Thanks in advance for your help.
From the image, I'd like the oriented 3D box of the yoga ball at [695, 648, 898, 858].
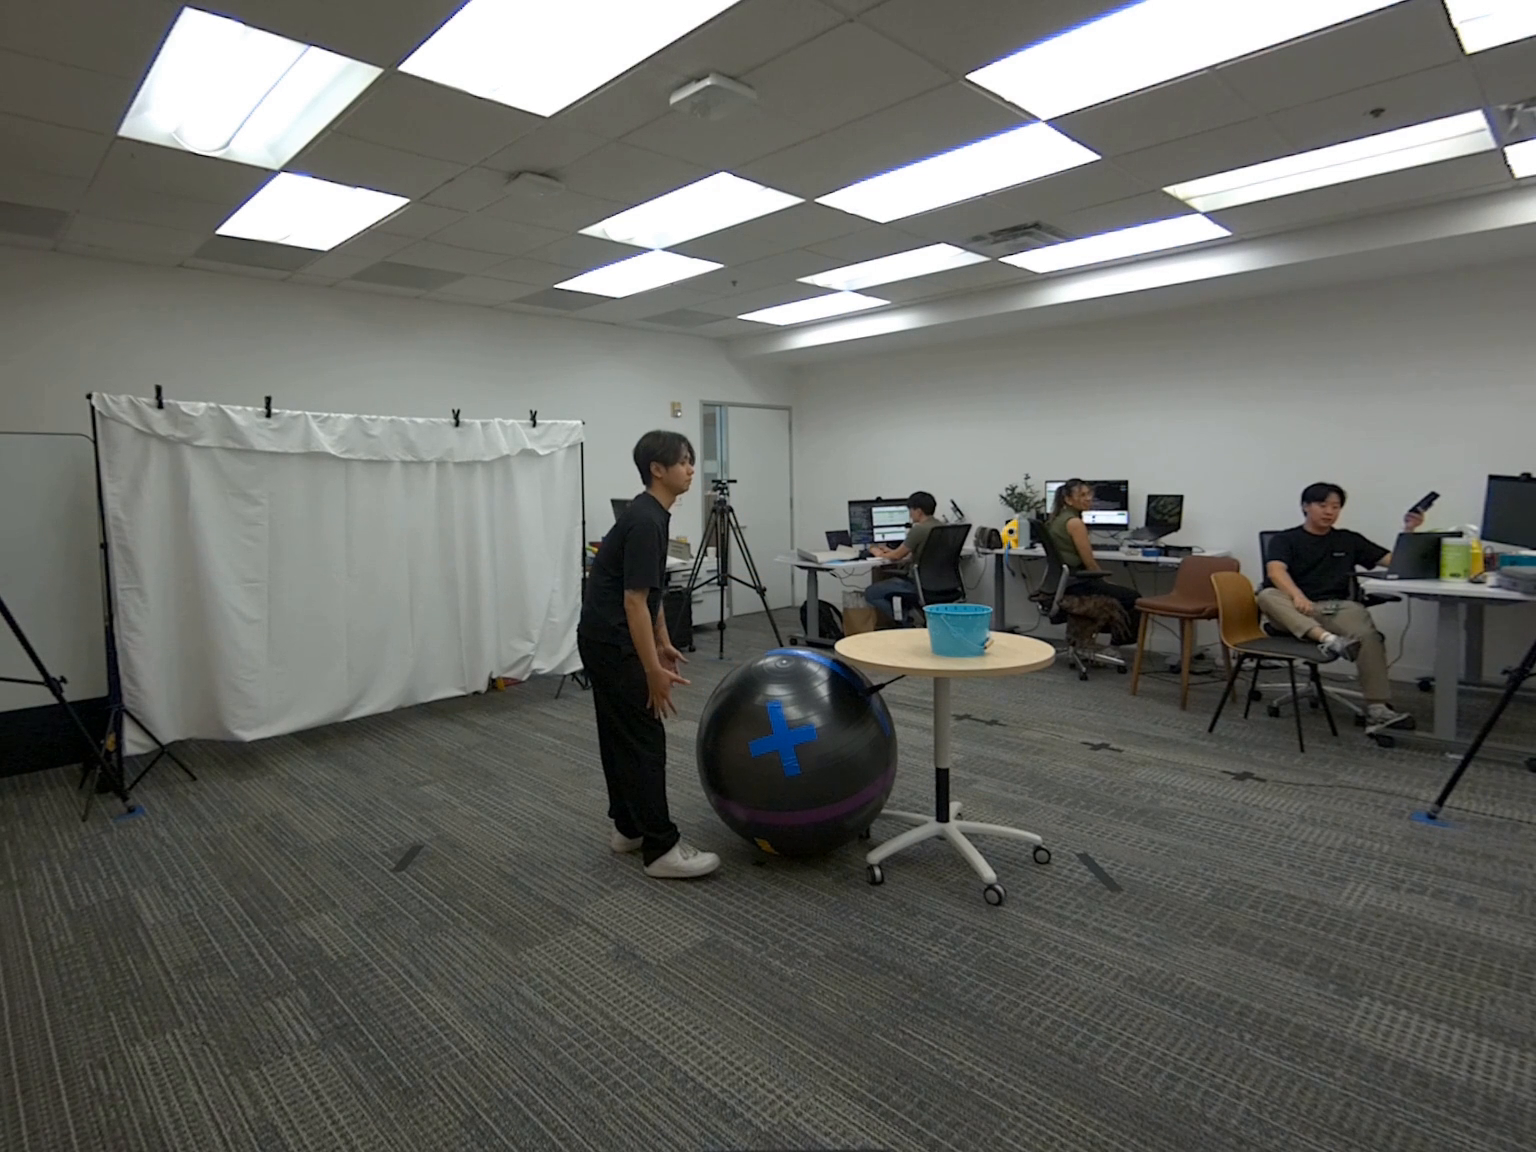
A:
[{"bbox_3d":[0.111,0.655,3.228,0.757,0.755,0.762,-1,5,-2],"label":"yoga ball"}]
